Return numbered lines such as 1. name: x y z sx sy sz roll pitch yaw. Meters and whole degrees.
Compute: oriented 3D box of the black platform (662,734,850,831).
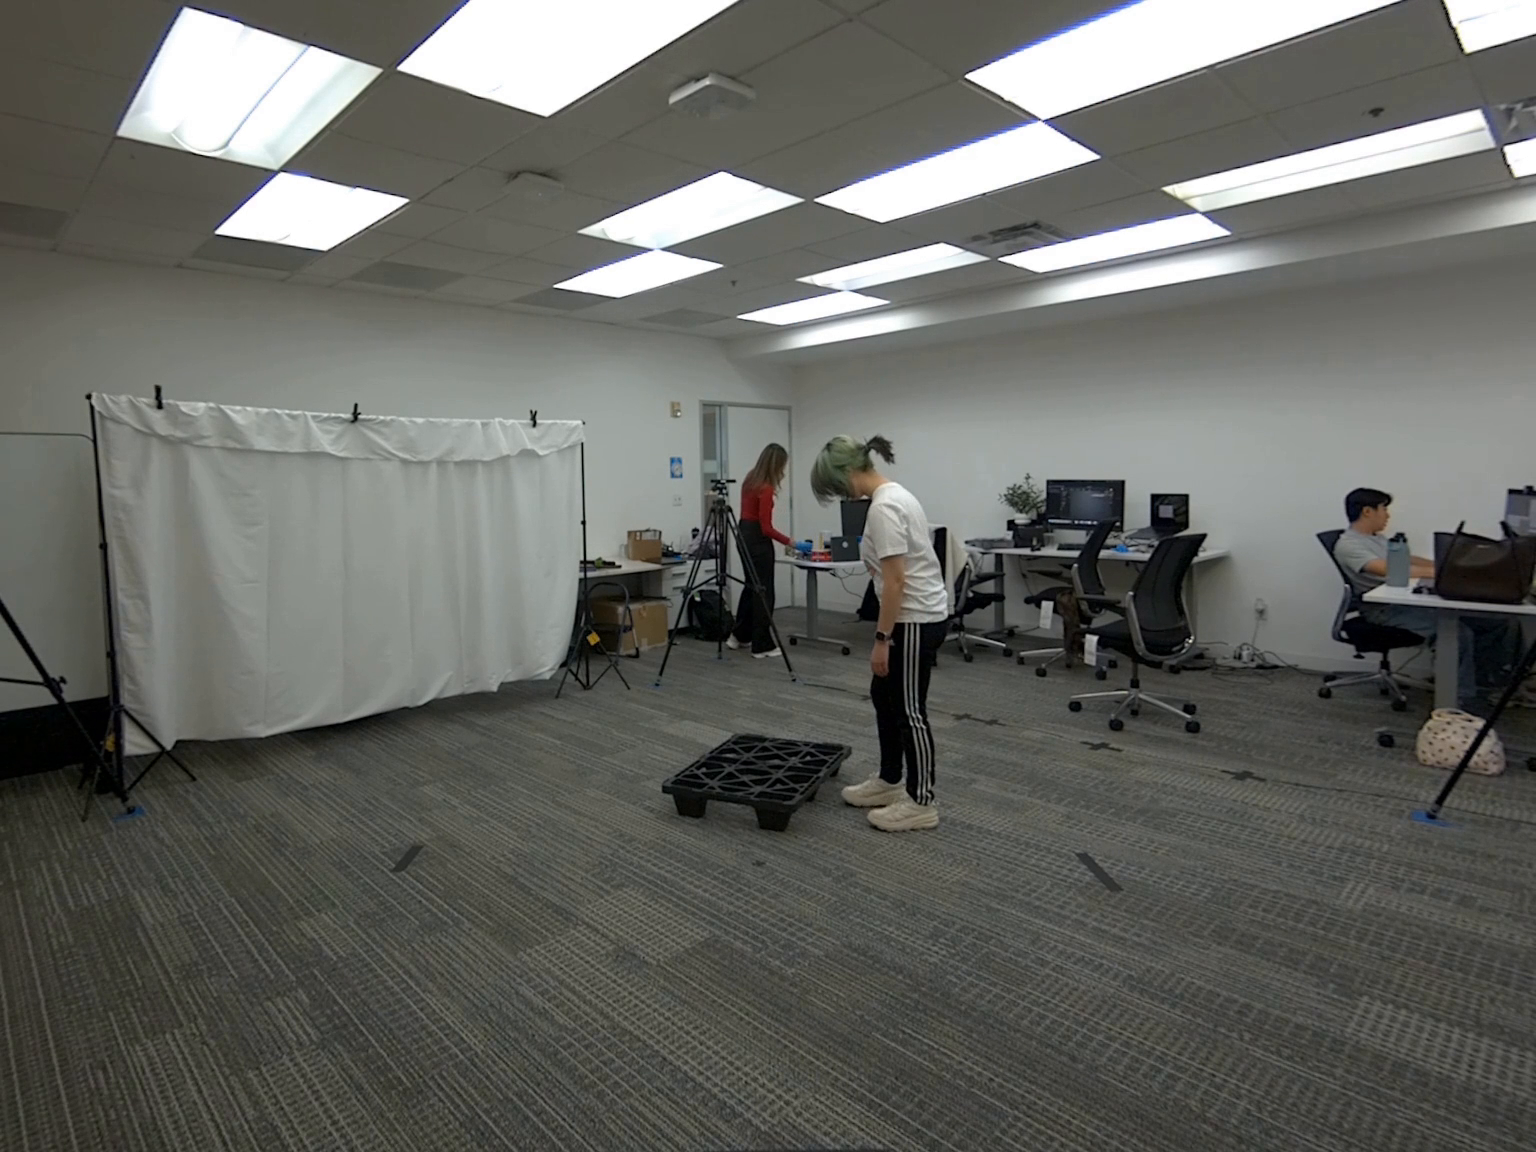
1. black platform: -0.024 0.899 3.802 0.618 0.143 0.792 0 6 23
